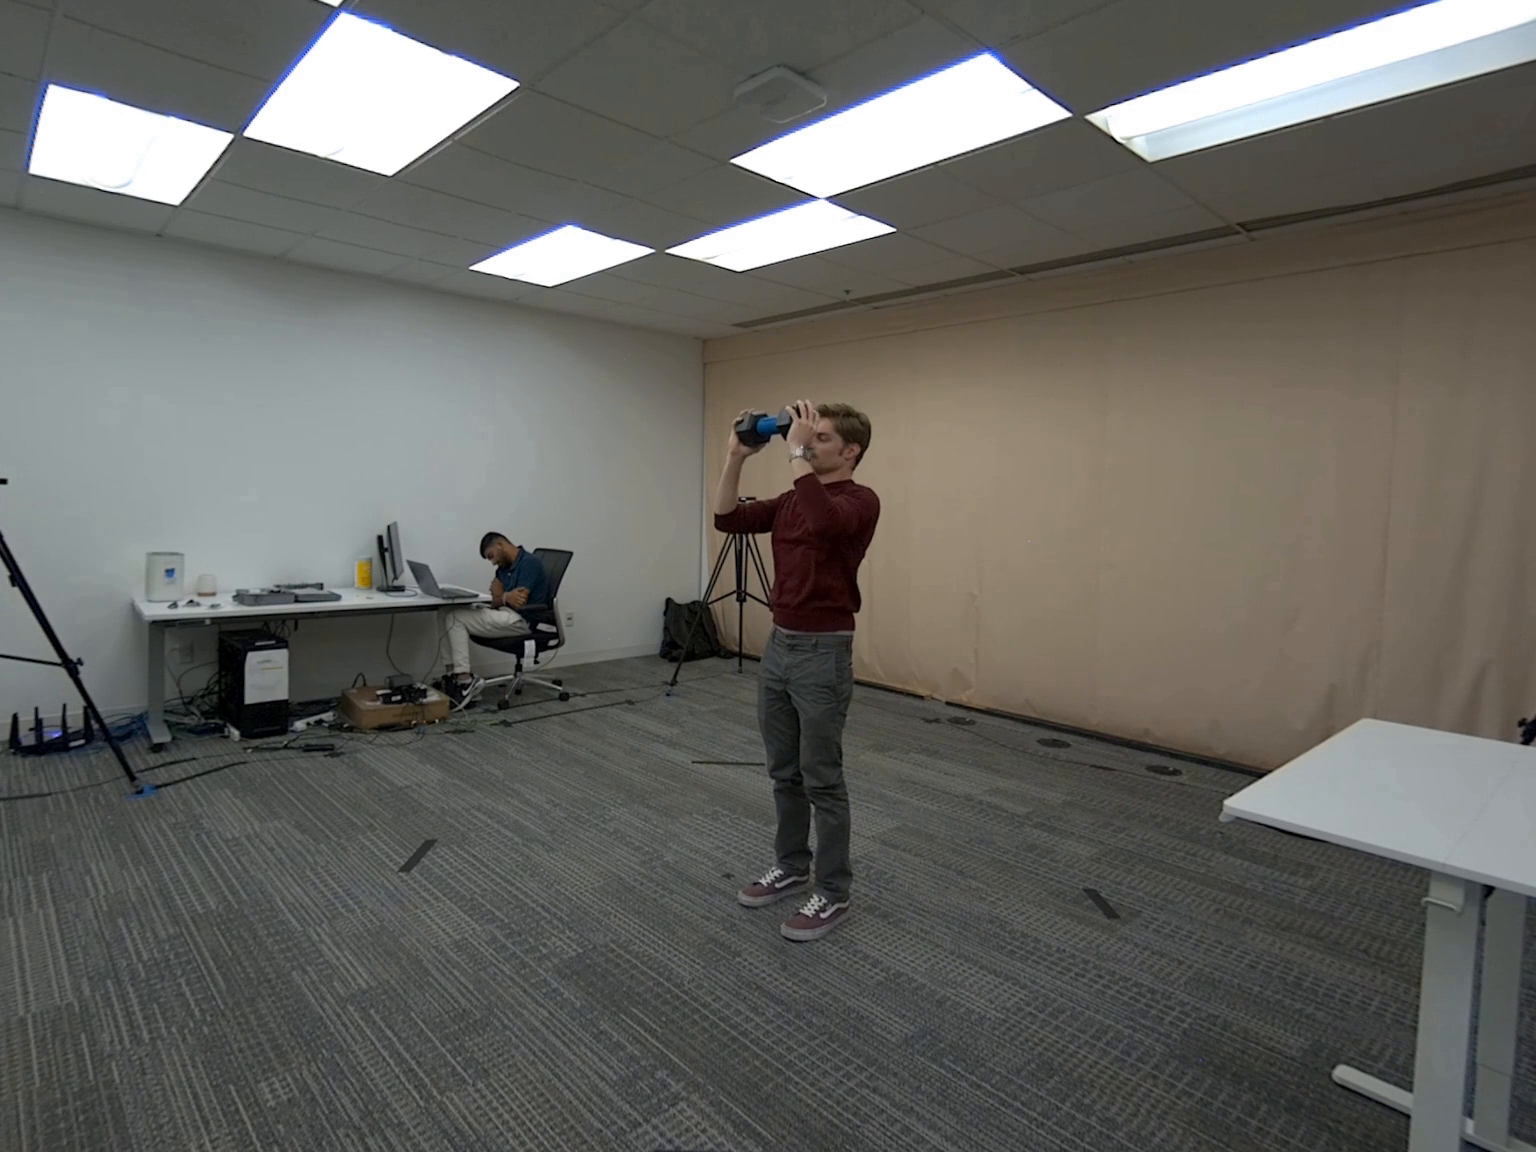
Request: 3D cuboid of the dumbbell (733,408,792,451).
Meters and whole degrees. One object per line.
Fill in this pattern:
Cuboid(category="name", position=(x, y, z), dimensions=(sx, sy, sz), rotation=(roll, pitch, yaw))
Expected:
Cuboid(category="dumbbell", position=(0.025, -0.490, 2.728), dimensions=(0.106, 0.123, 0.300), rotation=(24, -14, -34))
